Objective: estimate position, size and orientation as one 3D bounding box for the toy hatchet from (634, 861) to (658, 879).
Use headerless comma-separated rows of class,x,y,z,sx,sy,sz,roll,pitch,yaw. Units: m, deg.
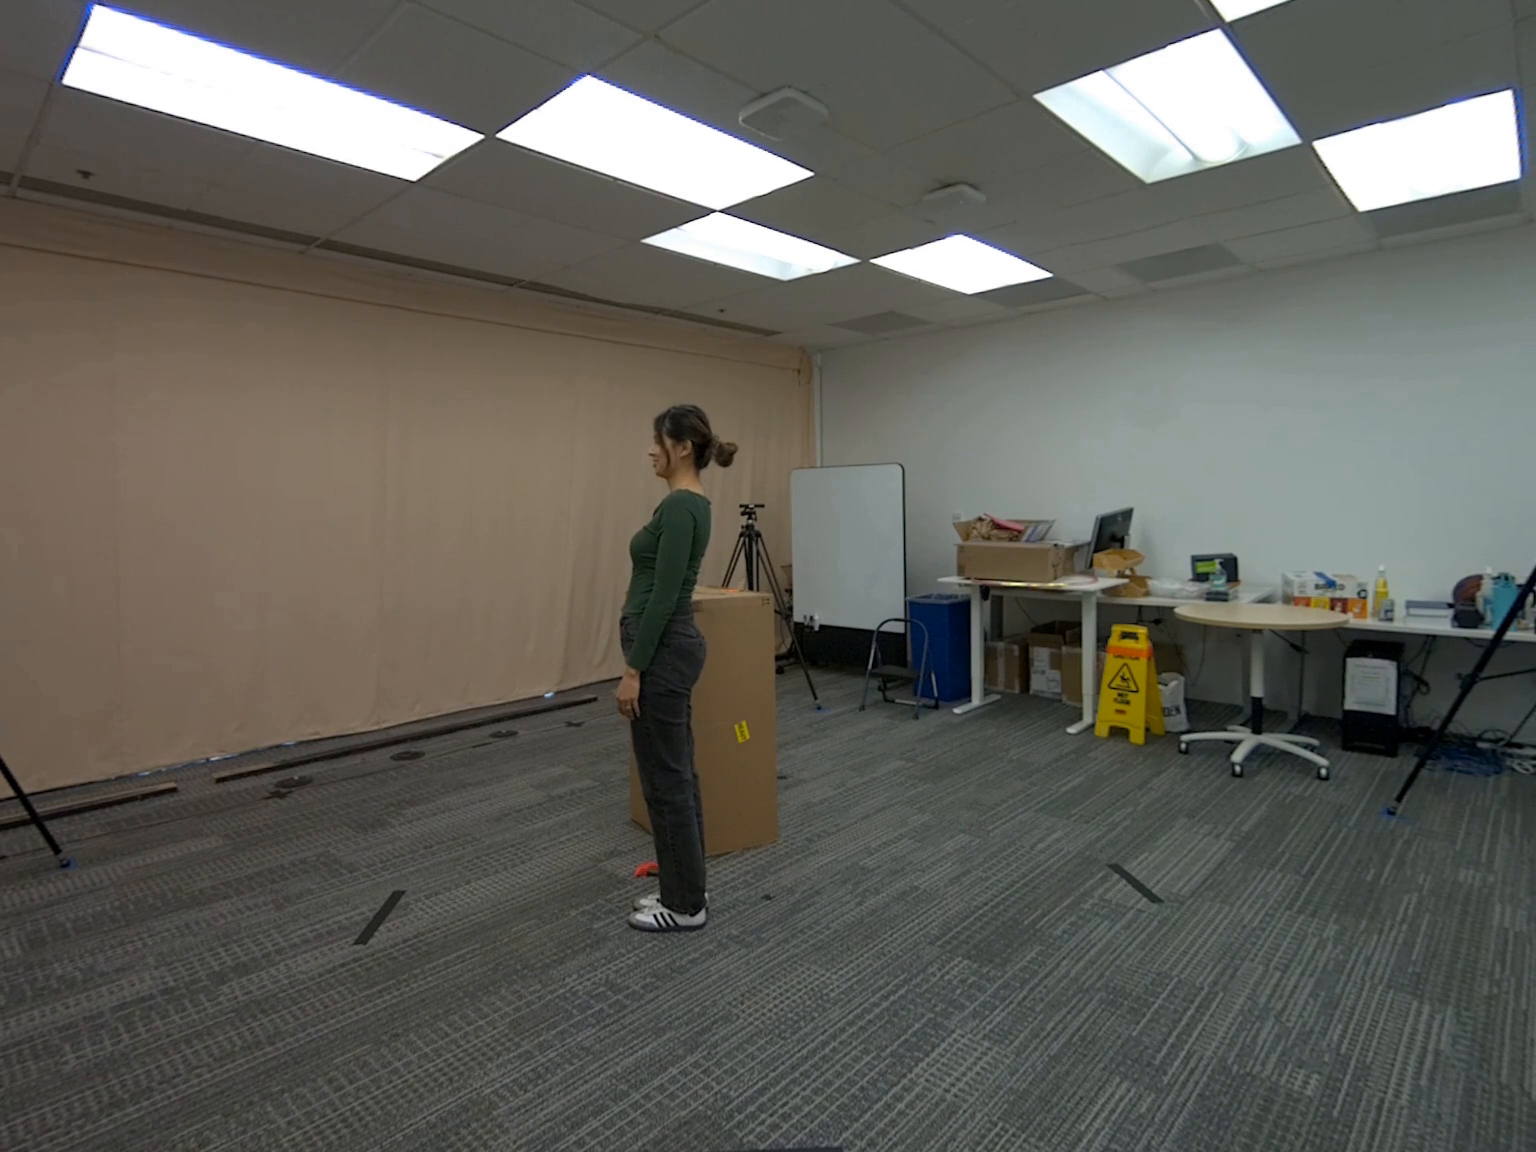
toy hatchet,-0.370,1.116,3.194,0.271,0.029,0.130,2,3,4
